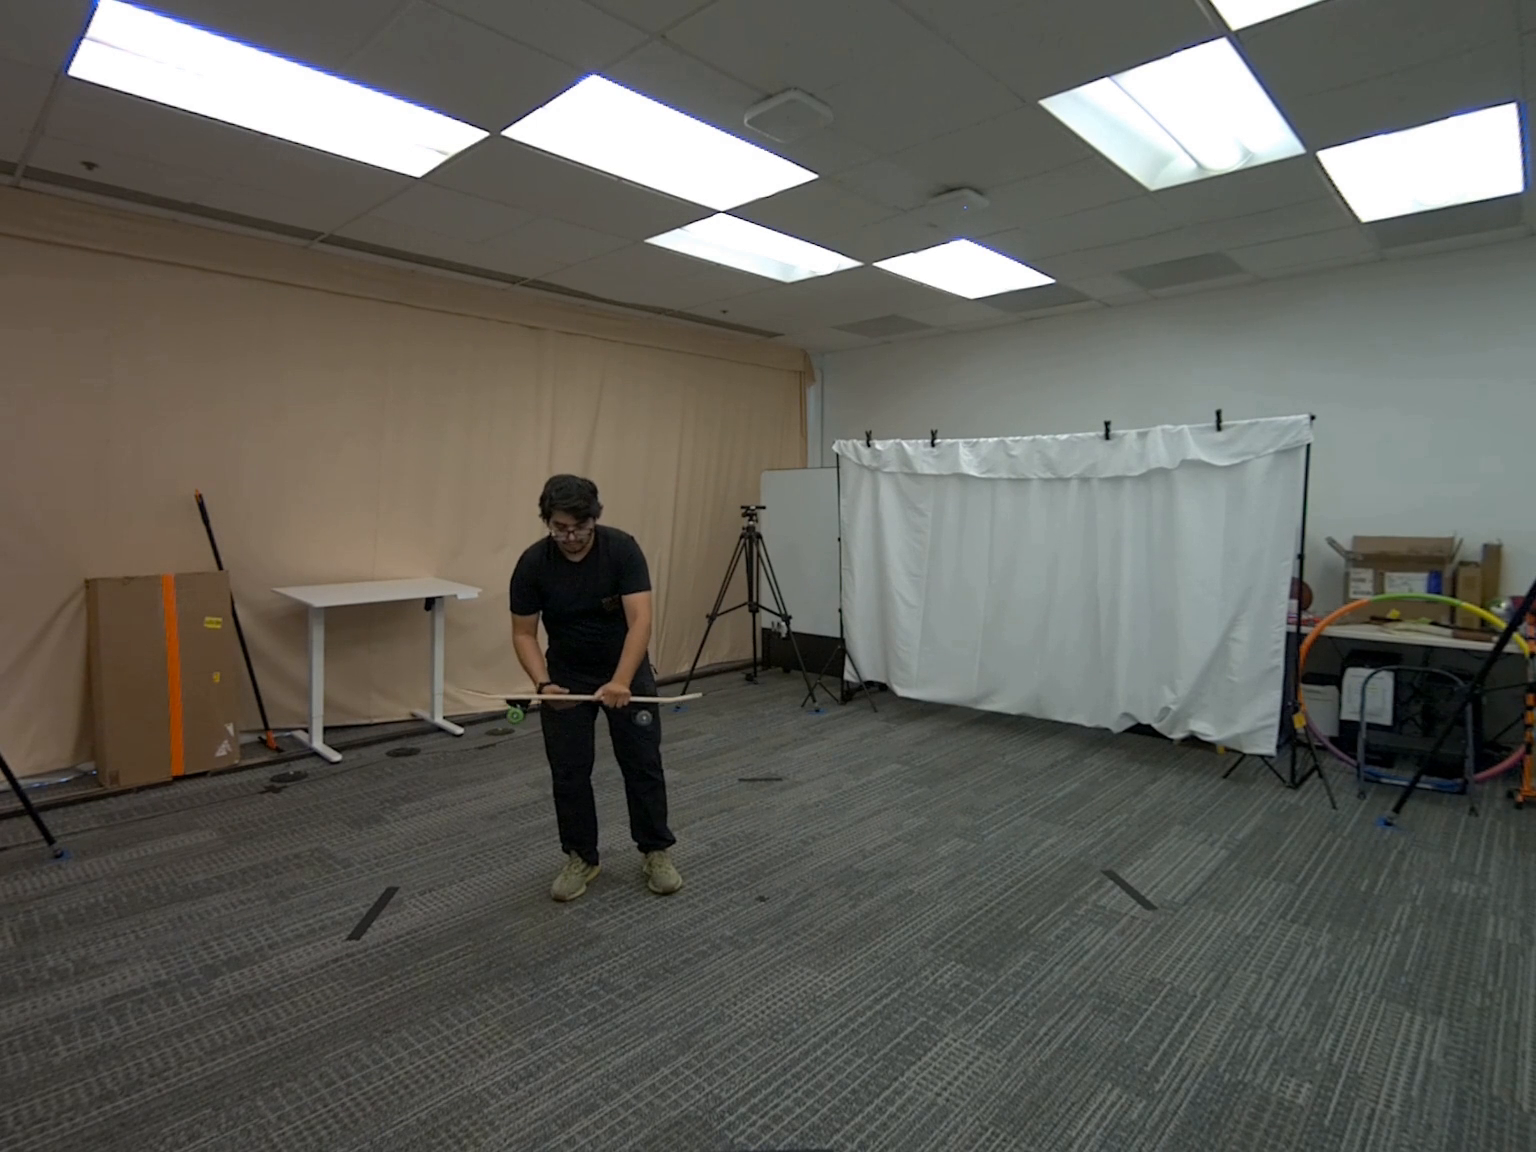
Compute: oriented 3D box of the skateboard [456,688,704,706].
[{"bbox_3d":[-0.594,0.428,2.709,0.778,0.111,0.194,2,-9,-8],"label":"skateboard"}]
